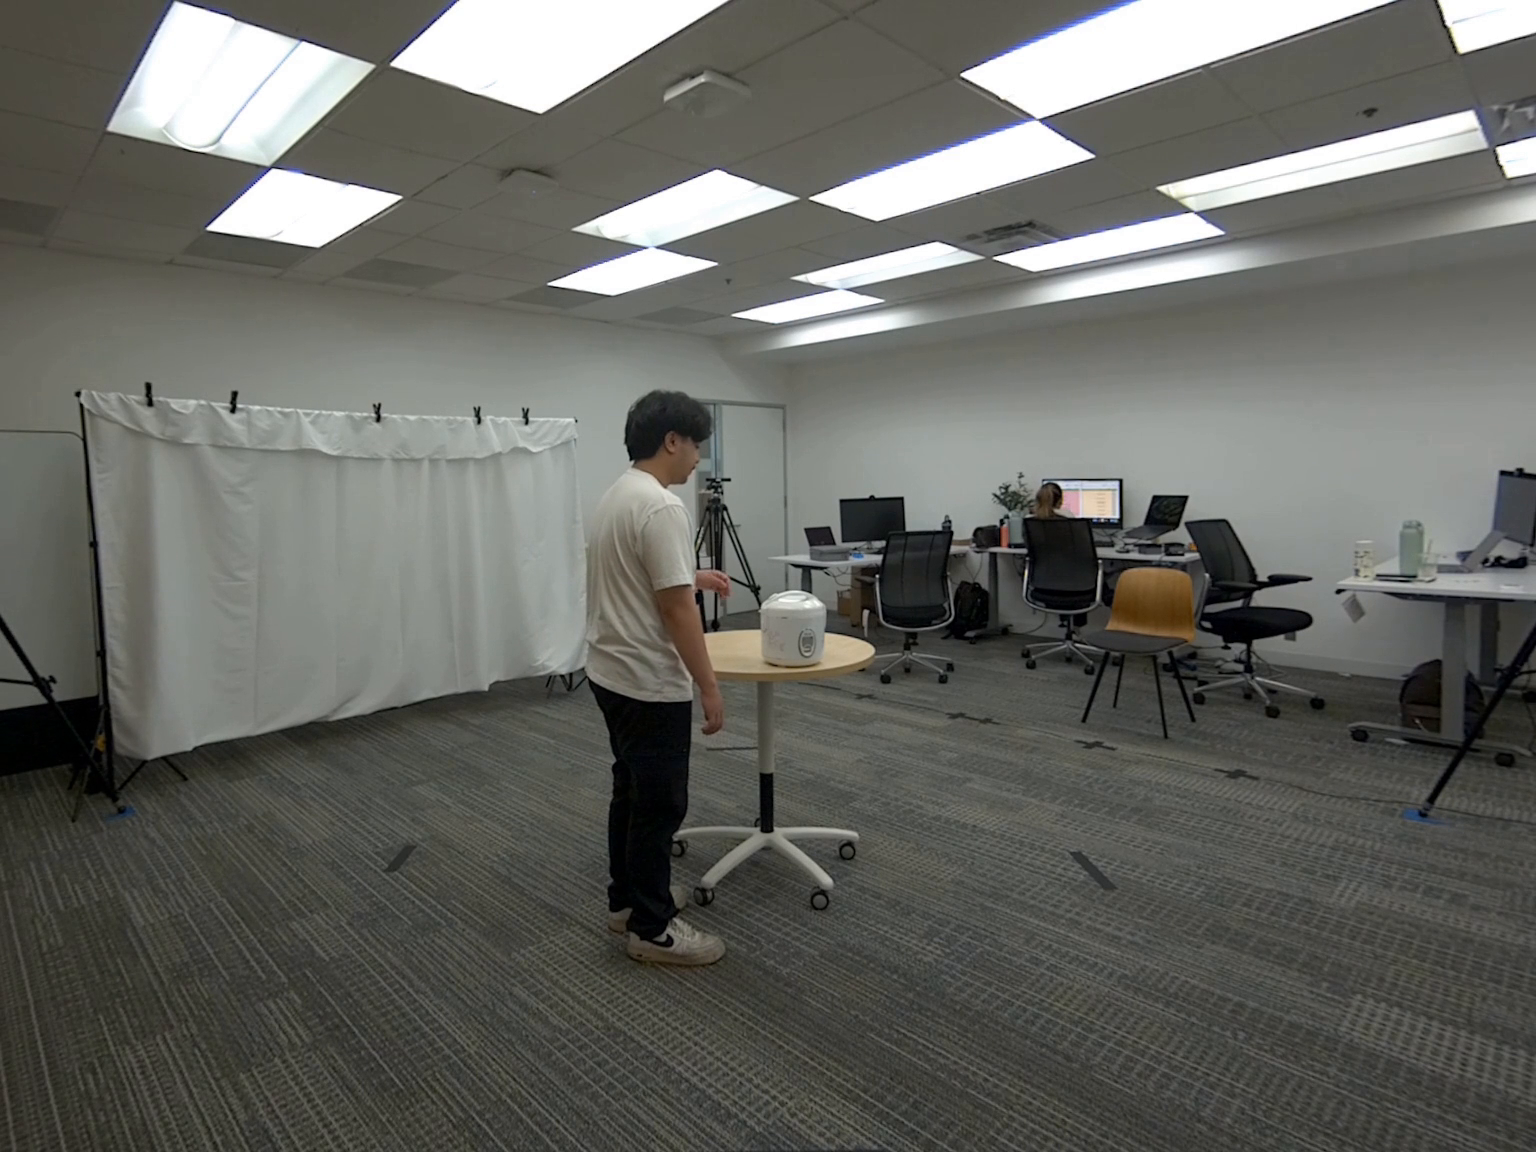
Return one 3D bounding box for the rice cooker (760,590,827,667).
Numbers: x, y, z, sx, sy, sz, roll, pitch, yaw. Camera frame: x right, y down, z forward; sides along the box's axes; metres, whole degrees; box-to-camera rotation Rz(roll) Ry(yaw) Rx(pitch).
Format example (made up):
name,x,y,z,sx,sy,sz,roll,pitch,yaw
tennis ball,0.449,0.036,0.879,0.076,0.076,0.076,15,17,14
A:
name,x,y,z,sx,sy,sz,roll,pitch,yaw
rice cooker,0.084,0.163,2.768,0.216,0.232,0.222,-4,4,-23
